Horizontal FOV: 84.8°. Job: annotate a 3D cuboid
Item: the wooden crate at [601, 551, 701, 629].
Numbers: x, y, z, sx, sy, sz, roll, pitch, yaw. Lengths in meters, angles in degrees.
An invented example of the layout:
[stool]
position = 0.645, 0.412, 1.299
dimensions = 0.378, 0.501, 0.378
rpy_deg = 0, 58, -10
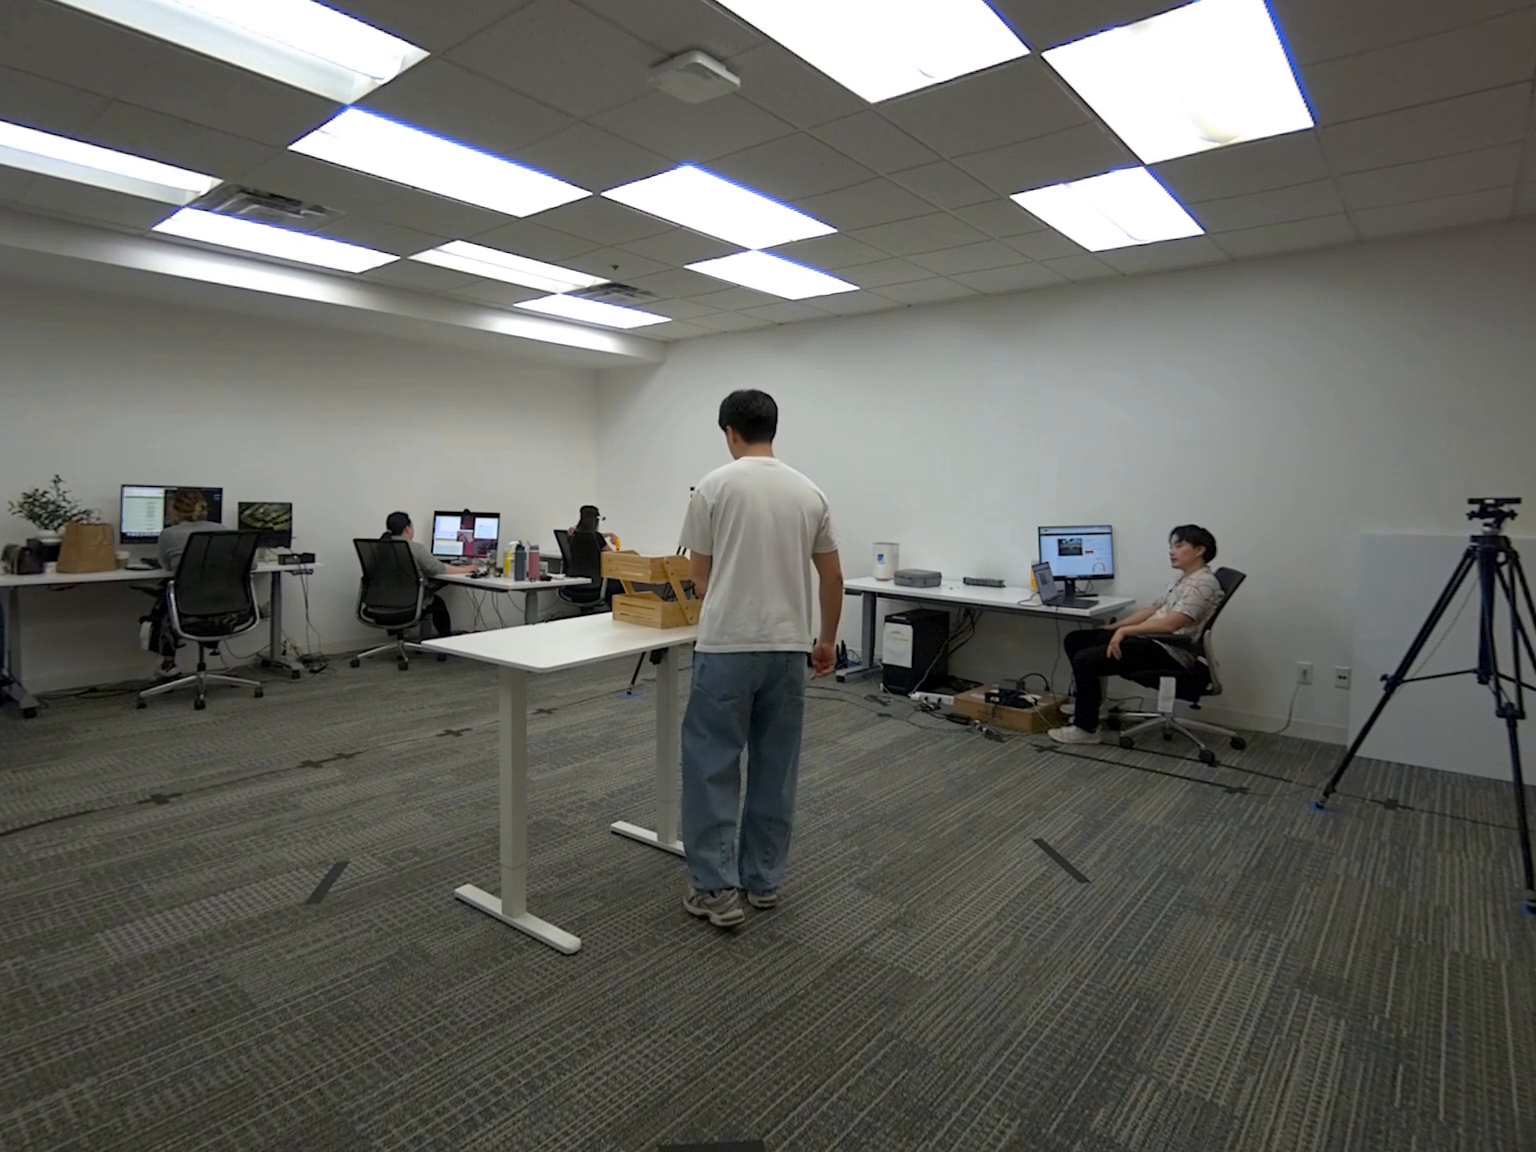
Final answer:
[wooden crate]
position = -0.423, 0.037, 3.182
dimensions = 0.335, 0.272, 0.293
rpy_deg = 5, 7, 44
